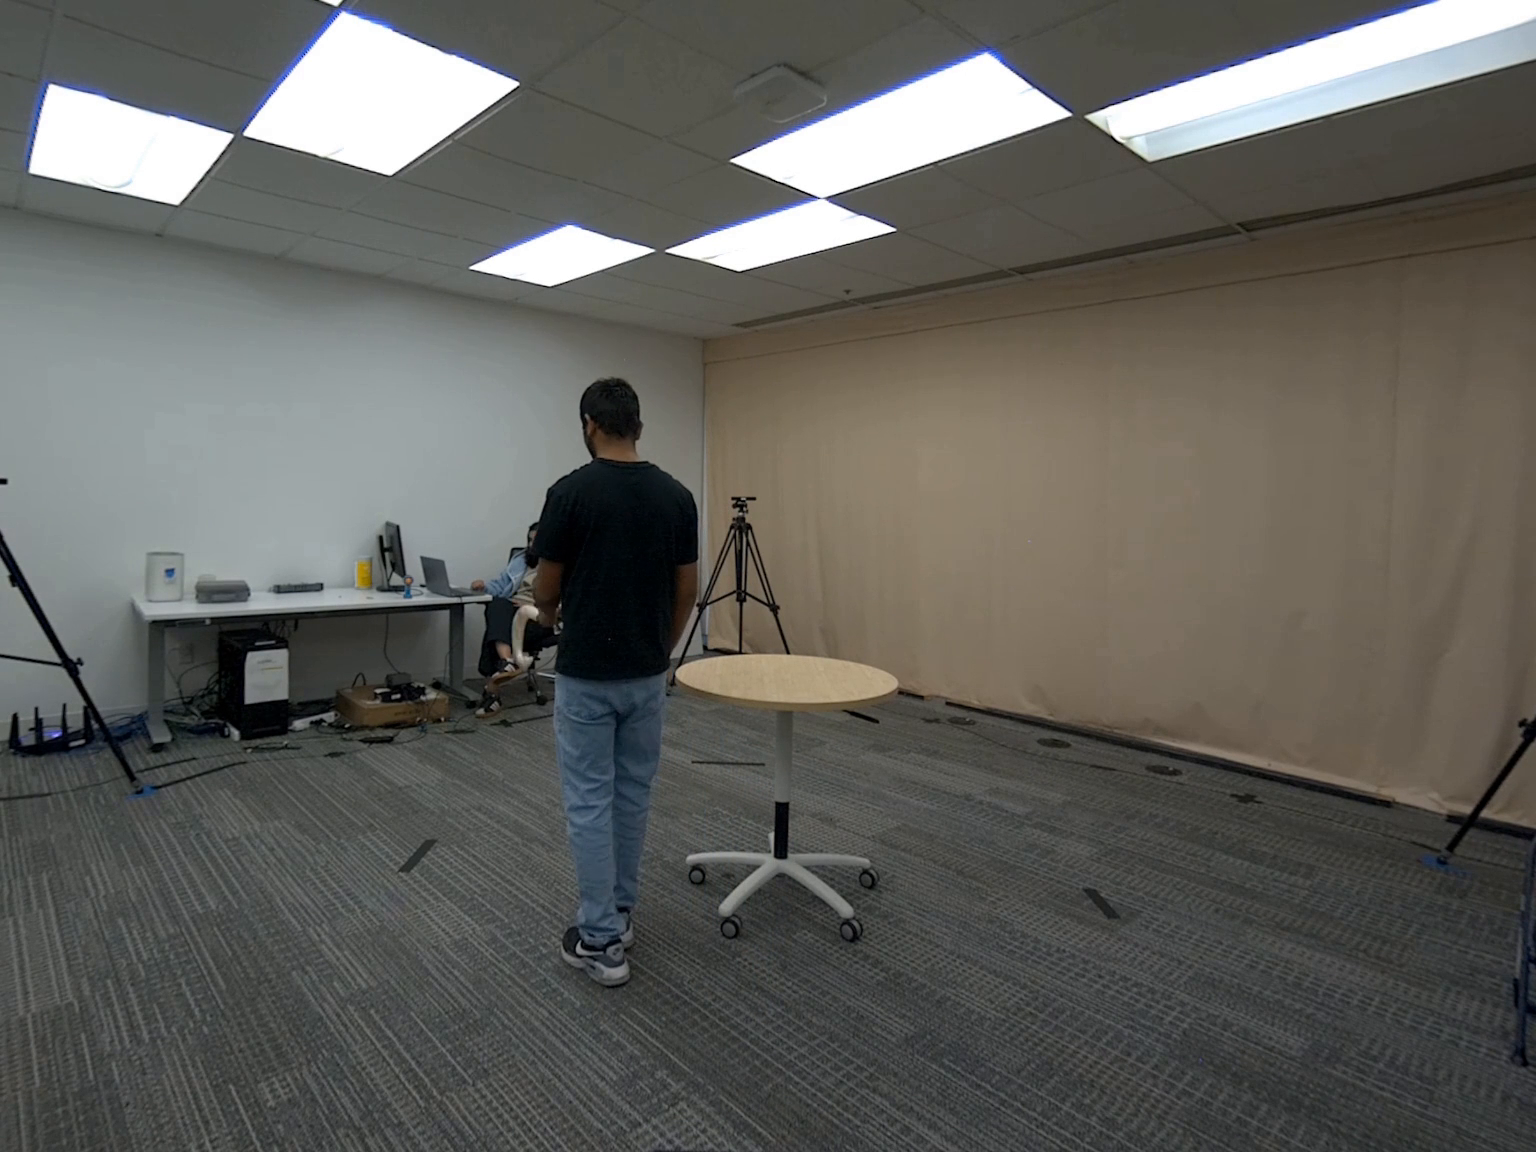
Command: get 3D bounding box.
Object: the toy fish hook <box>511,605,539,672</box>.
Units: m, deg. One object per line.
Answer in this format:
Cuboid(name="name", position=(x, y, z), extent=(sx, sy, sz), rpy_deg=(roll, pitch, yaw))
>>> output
Cuboid(name="toy fish hook", position=(-0.795, 0.201, 2.911), extent=(0.047, 0.226, 0.514), rpy_deg=(1, -8, -32))
